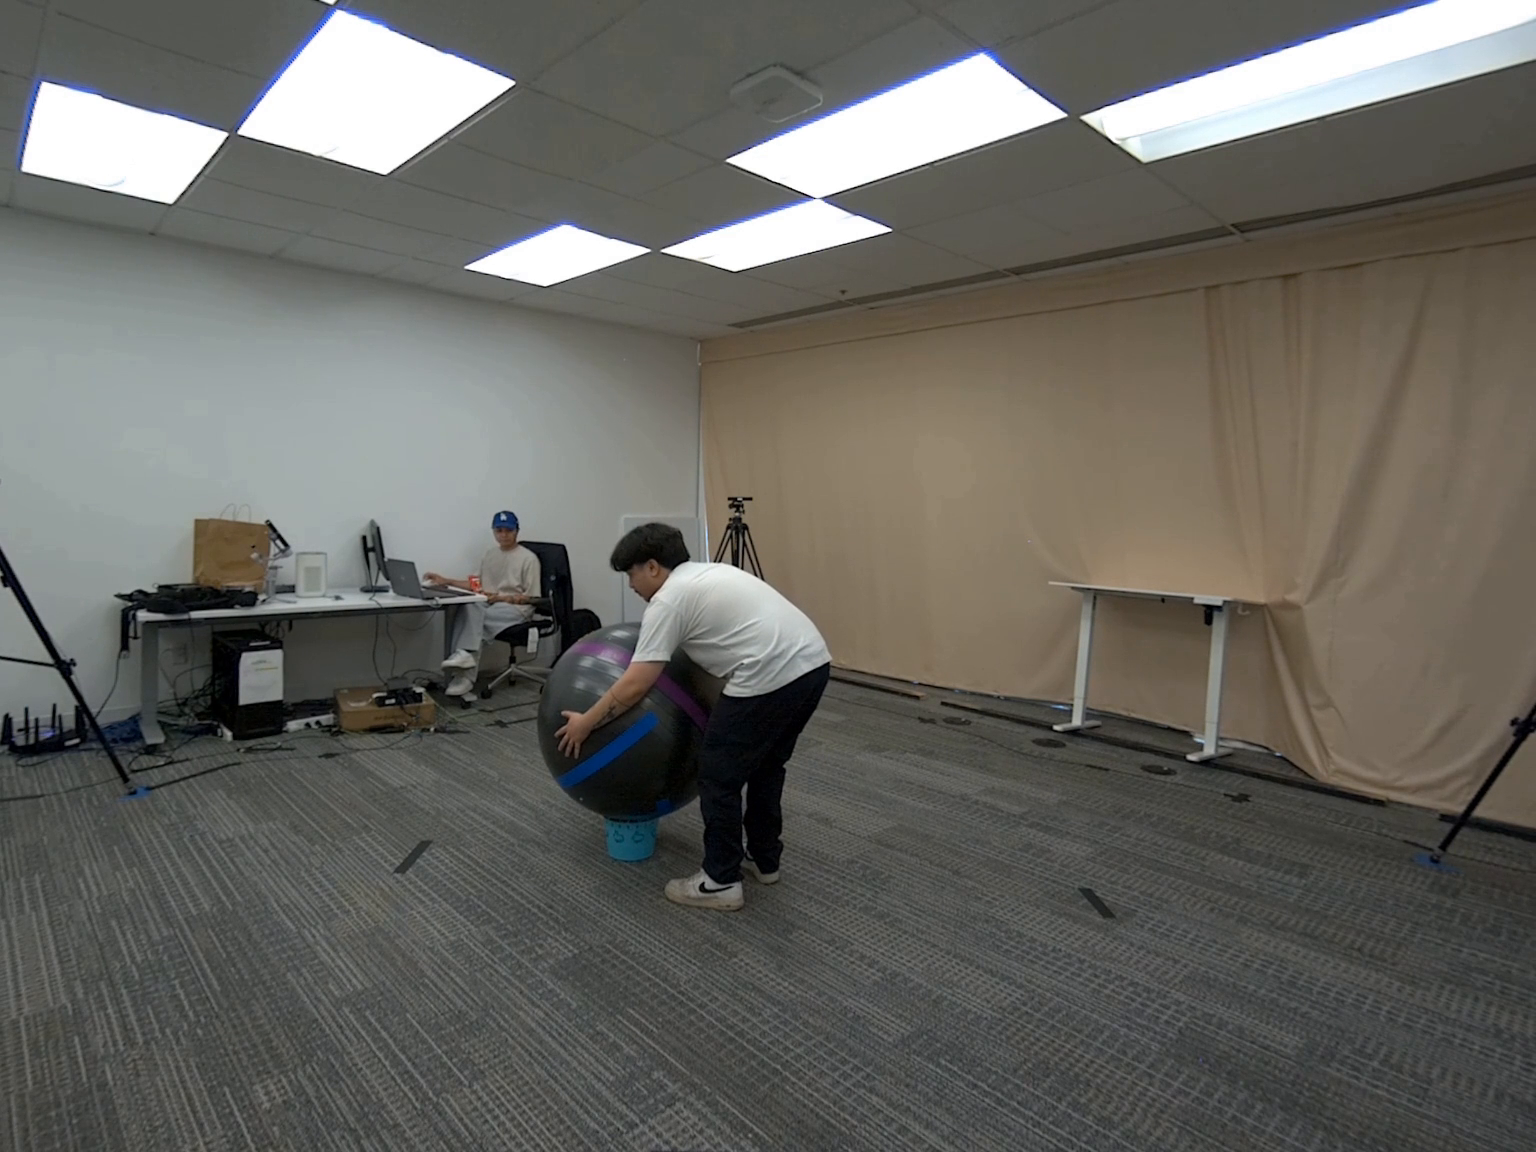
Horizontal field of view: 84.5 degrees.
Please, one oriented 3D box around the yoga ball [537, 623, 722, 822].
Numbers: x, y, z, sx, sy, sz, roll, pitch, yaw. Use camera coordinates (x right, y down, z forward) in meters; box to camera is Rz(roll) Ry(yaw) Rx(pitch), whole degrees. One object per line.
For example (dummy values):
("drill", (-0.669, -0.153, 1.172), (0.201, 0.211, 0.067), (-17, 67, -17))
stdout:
("yoga ball", (-0.527, 0.567, 3.323), (0.757, 0.756, 0.760), (1, 4, -1))
